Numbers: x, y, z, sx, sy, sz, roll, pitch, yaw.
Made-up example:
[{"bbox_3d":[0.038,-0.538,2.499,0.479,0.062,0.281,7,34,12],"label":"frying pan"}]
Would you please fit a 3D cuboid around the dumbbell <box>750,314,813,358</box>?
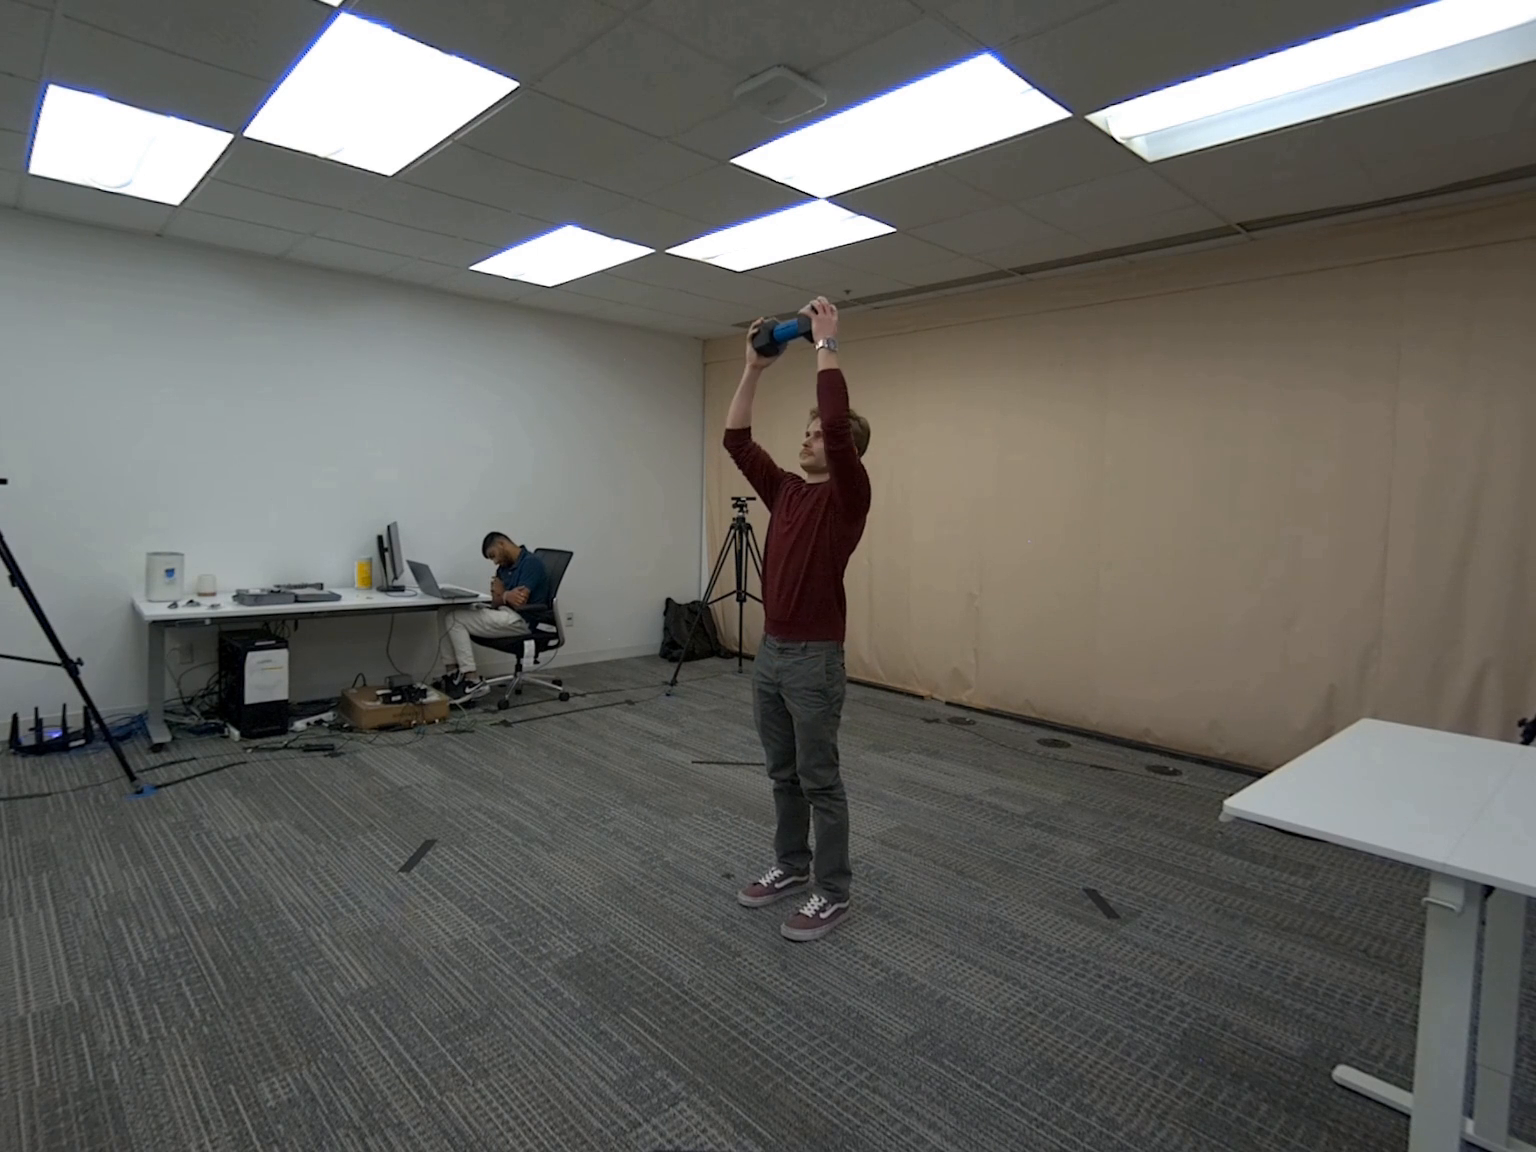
[{"bbox_3d":[0.071,-0.784,2.732,0.106,0.123,0.300,-9,4,-41],"label":"dumbbell"}]
